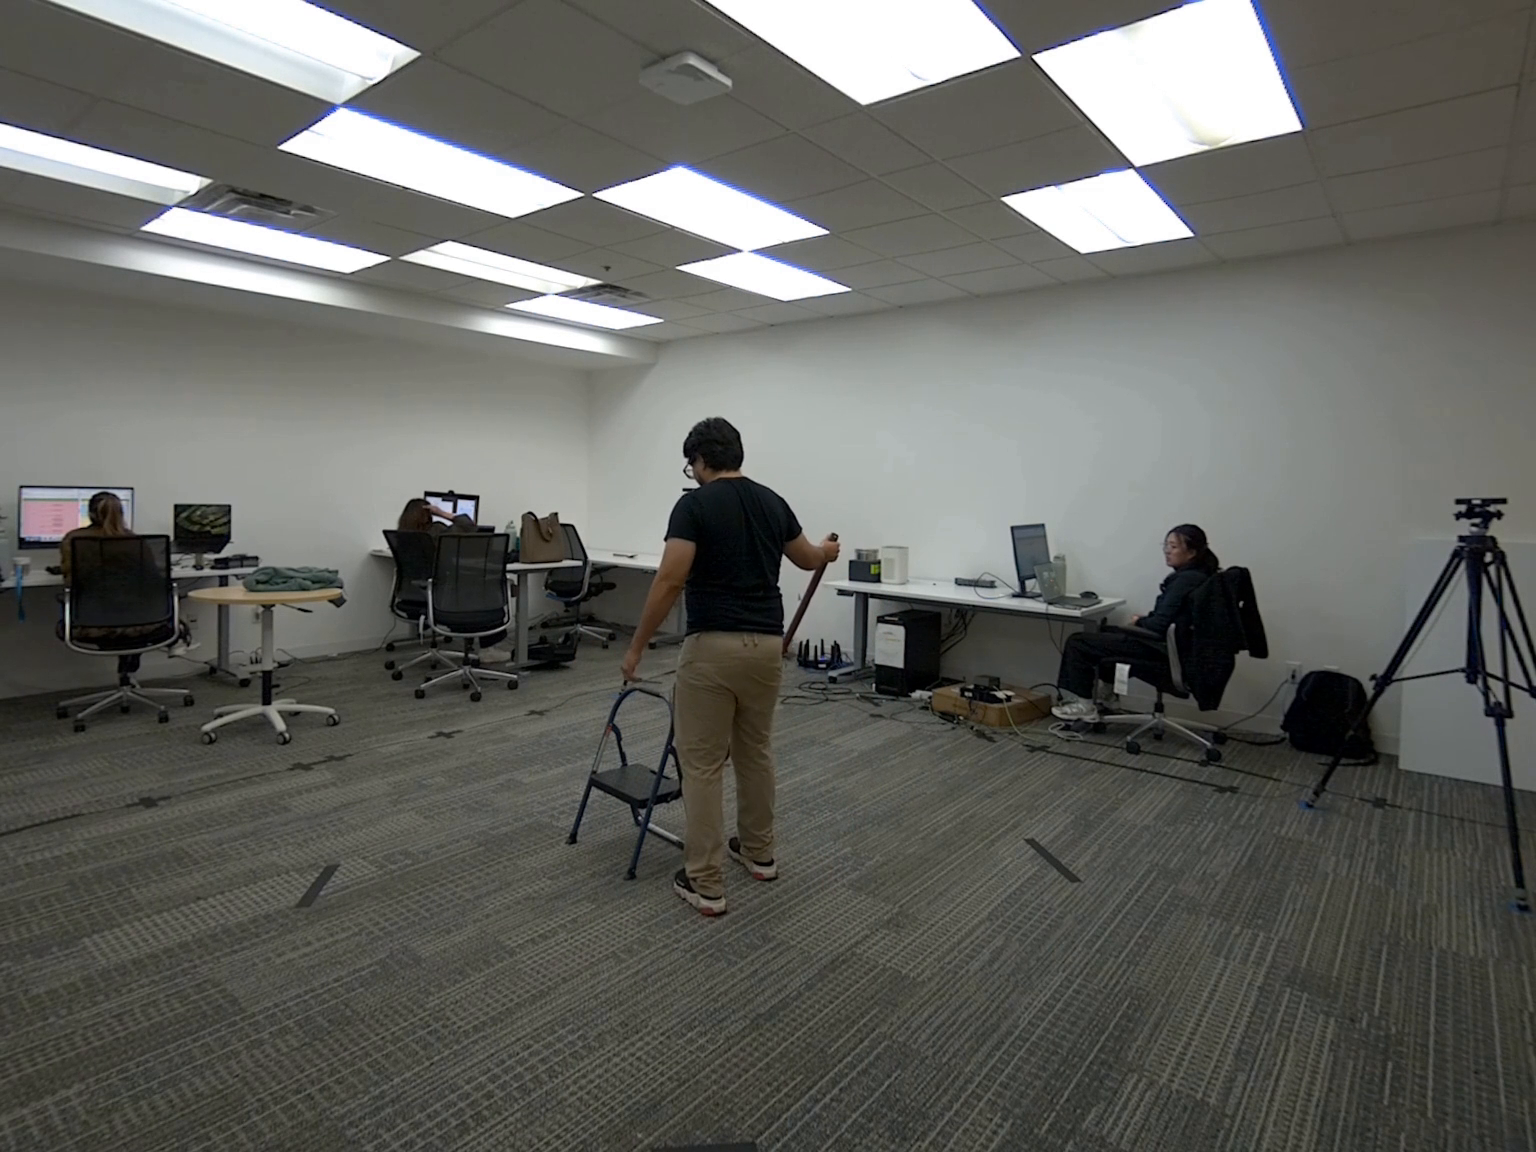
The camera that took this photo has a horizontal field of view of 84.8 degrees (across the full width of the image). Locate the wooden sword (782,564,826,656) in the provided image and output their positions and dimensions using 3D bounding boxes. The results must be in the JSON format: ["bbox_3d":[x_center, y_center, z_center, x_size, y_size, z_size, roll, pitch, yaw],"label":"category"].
[{"bbox_3d":[0.040,0.300,3.413,0.024,1.026,0.050,26,-3,8],"label":"wooden sword"}]
